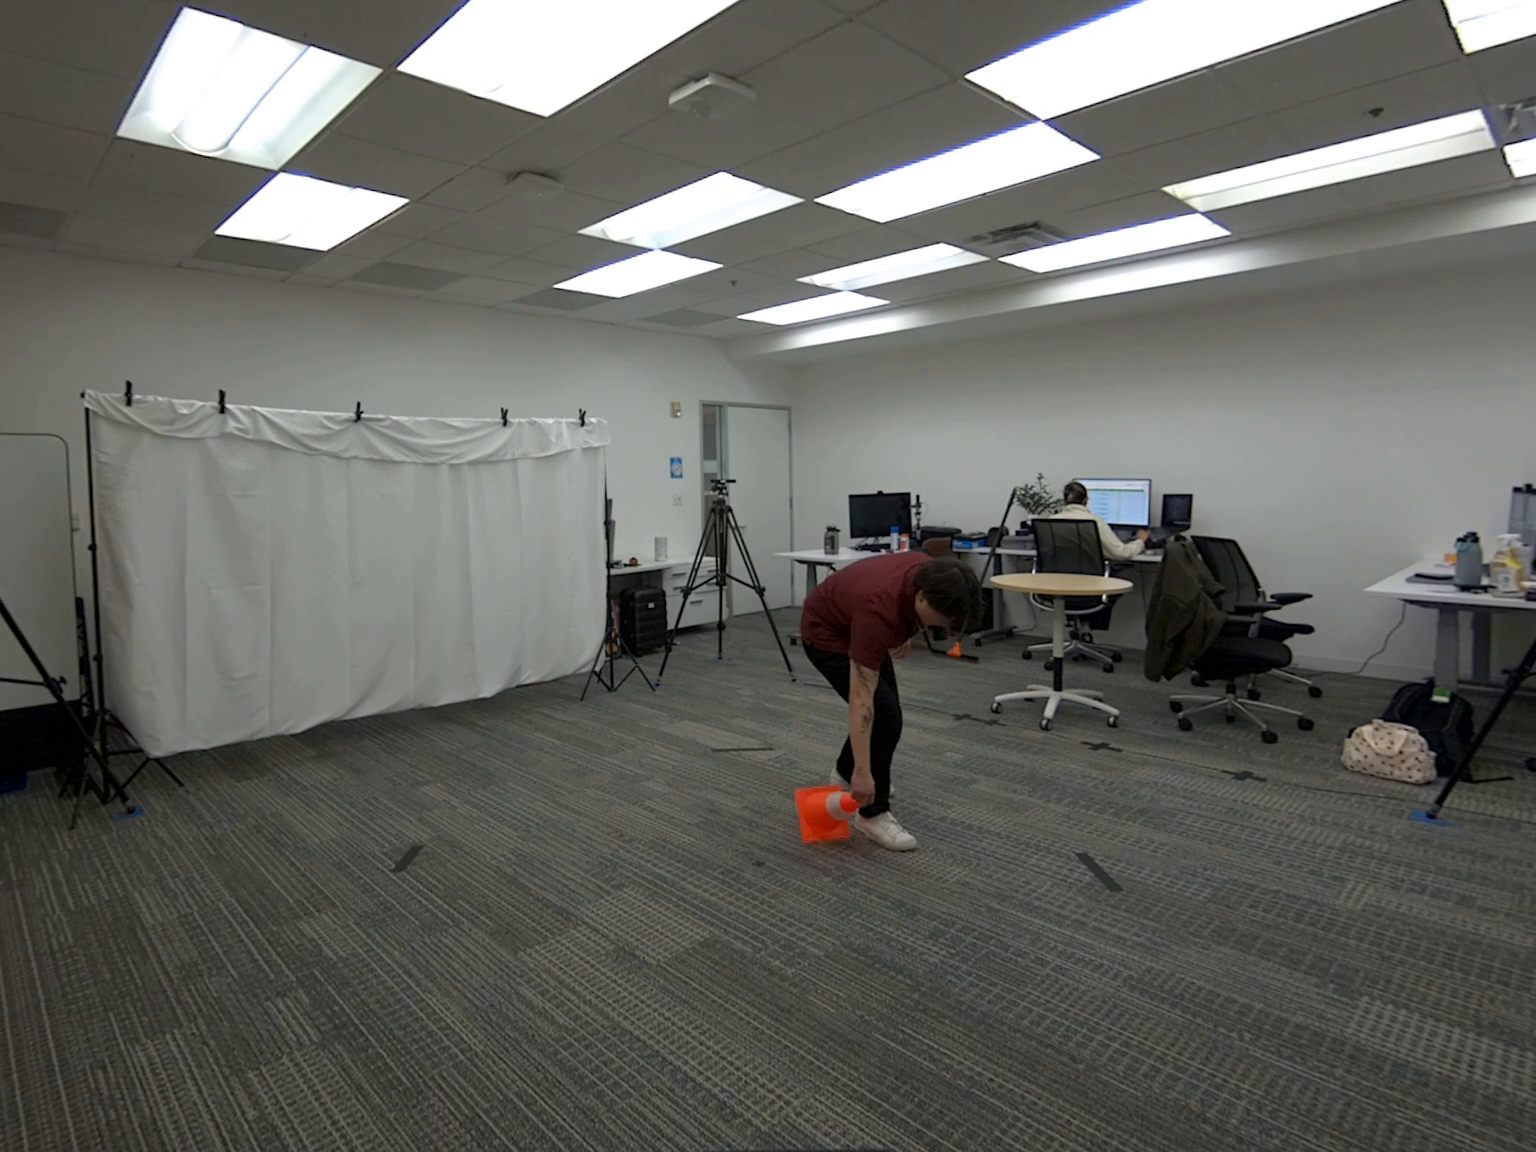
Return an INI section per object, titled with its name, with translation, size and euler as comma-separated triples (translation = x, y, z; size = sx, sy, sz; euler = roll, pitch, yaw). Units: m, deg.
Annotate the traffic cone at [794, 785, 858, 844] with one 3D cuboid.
[traffic cone]
translation = 0.278, 0.858, 3.161
size = 0.201, 0.208, 0.382
euler = 6, -24, -18
